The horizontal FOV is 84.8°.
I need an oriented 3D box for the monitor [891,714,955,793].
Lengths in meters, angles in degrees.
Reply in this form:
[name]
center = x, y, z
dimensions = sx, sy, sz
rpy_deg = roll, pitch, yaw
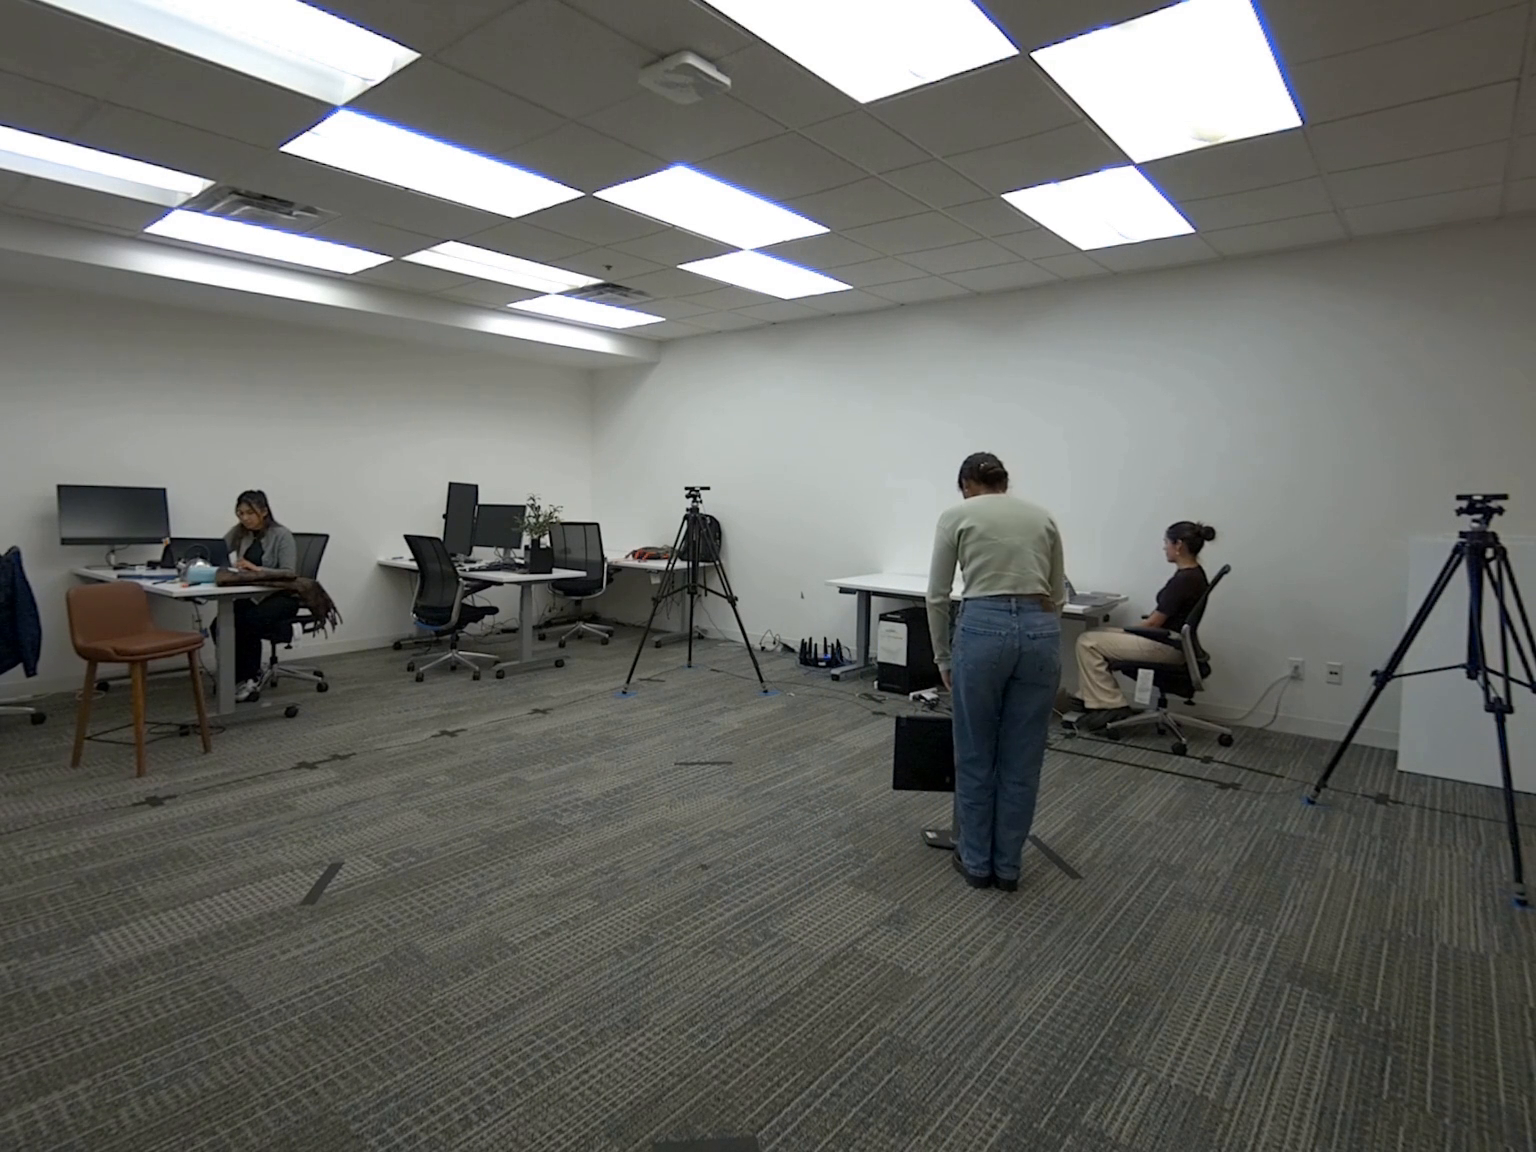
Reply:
[monitor]
center = 0.768, 0.790, 3.367
dimensions = 0.533, 0.515, 0.174
rpy_deg = 0, 2, 5
